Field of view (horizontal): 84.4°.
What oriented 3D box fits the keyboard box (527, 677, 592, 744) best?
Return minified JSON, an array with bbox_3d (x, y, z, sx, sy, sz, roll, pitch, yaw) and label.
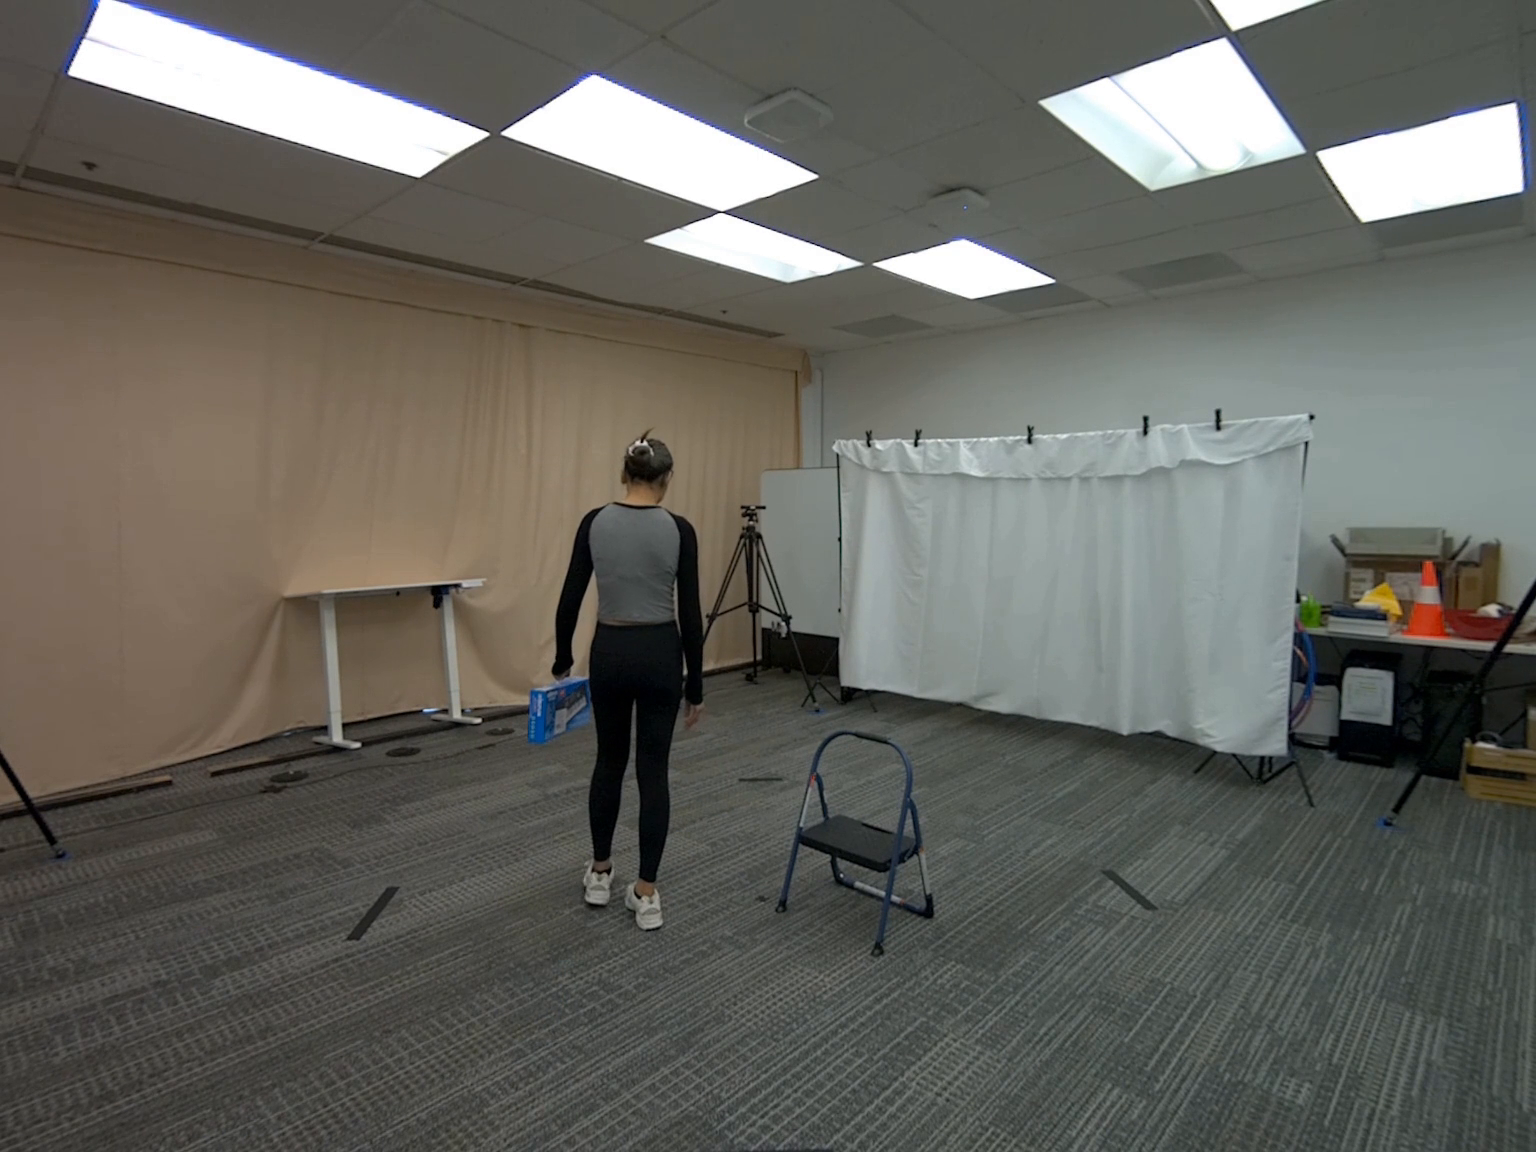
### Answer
[{"bbox_3d":[-0.739,0.469,3.018,0.060,0.176,0.432,2,-1,7],"label":"keyboard box"}]
